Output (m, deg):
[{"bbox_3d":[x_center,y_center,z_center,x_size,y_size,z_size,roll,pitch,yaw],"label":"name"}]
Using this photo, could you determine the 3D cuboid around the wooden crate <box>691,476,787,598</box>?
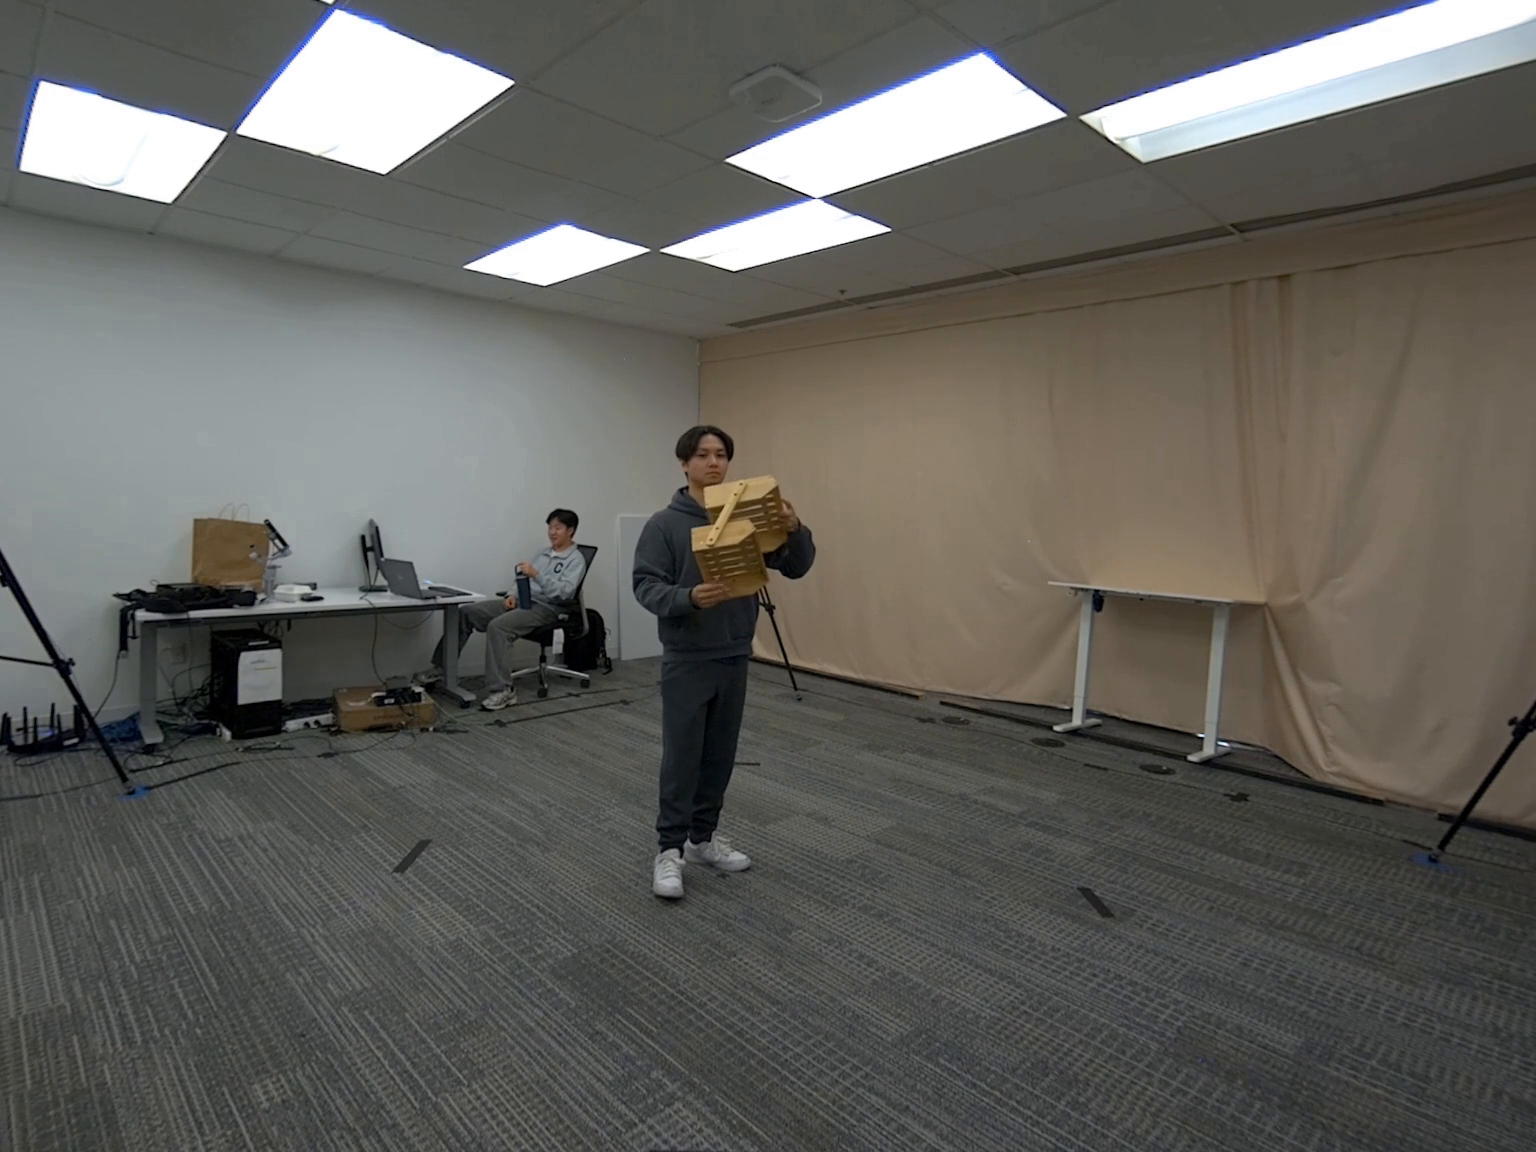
[{"bbox_3d":[-0.089,-0.117,2.857,0.303,0.280,0.315,-11,-37,6],"label":"wooden crate"}]
